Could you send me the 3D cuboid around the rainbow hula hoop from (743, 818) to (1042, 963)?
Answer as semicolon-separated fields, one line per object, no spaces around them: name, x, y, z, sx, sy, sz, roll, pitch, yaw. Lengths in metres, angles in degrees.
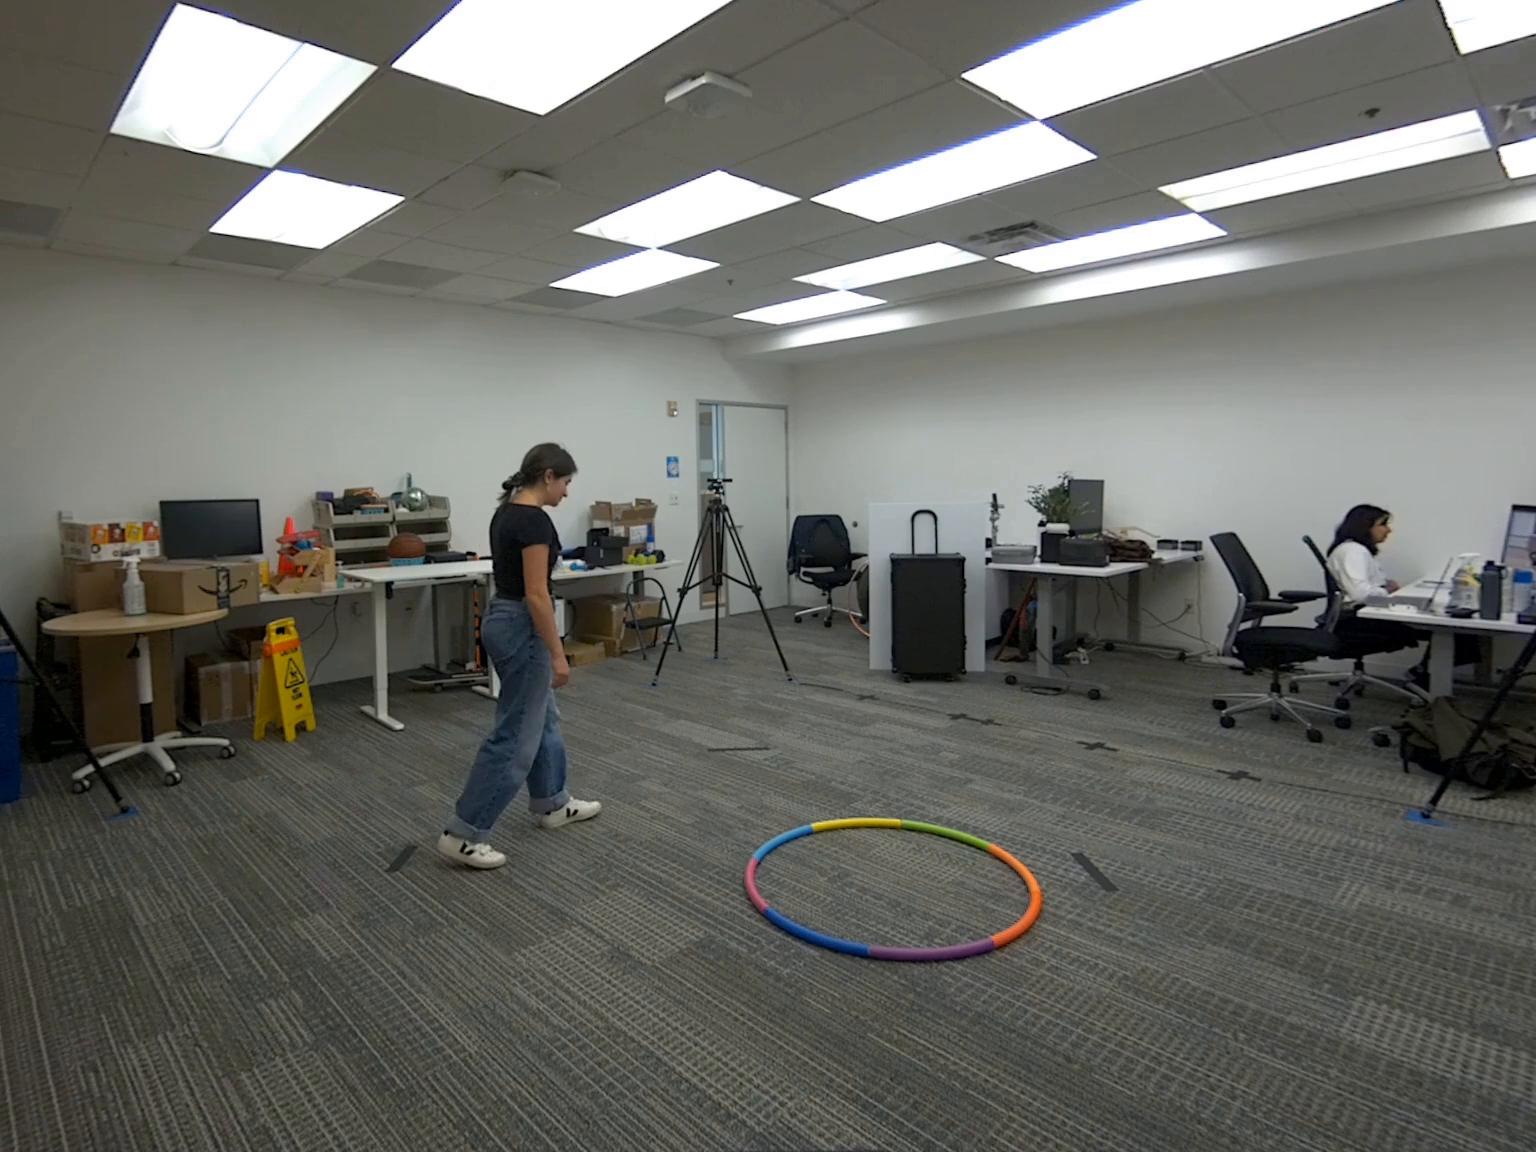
rainbow hula hoop;0.410;1.026;2.944;0.978;0.035;0.985;-2;7;-1
